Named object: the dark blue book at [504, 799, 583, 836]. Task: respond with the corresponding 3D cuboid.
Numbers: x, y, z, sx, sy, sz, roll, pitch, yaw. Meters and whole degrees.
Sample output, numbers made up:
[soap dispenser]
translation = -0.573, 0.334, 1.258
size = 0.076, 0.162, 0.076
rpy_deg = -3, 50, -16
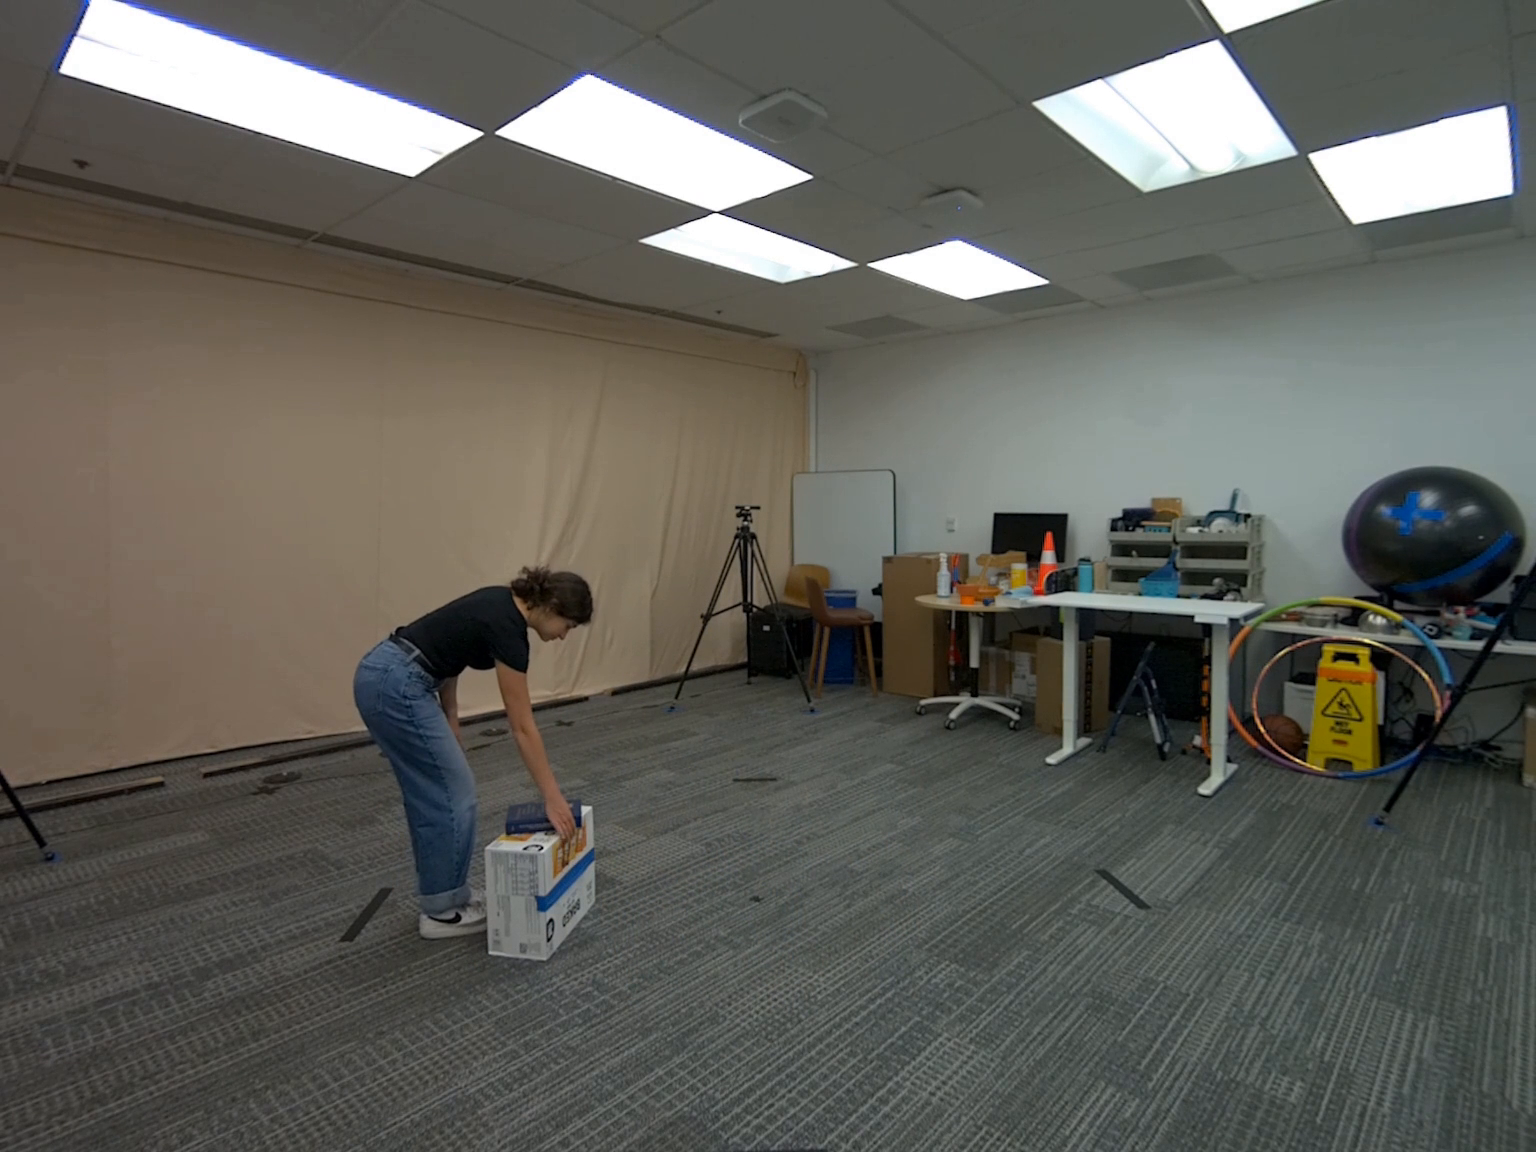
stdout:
[dark blue book]
translation = -0.749, 0.812, 2.817
size = 0.243, 0.045, 0.165
rpy_deg = -3, 5, -10
